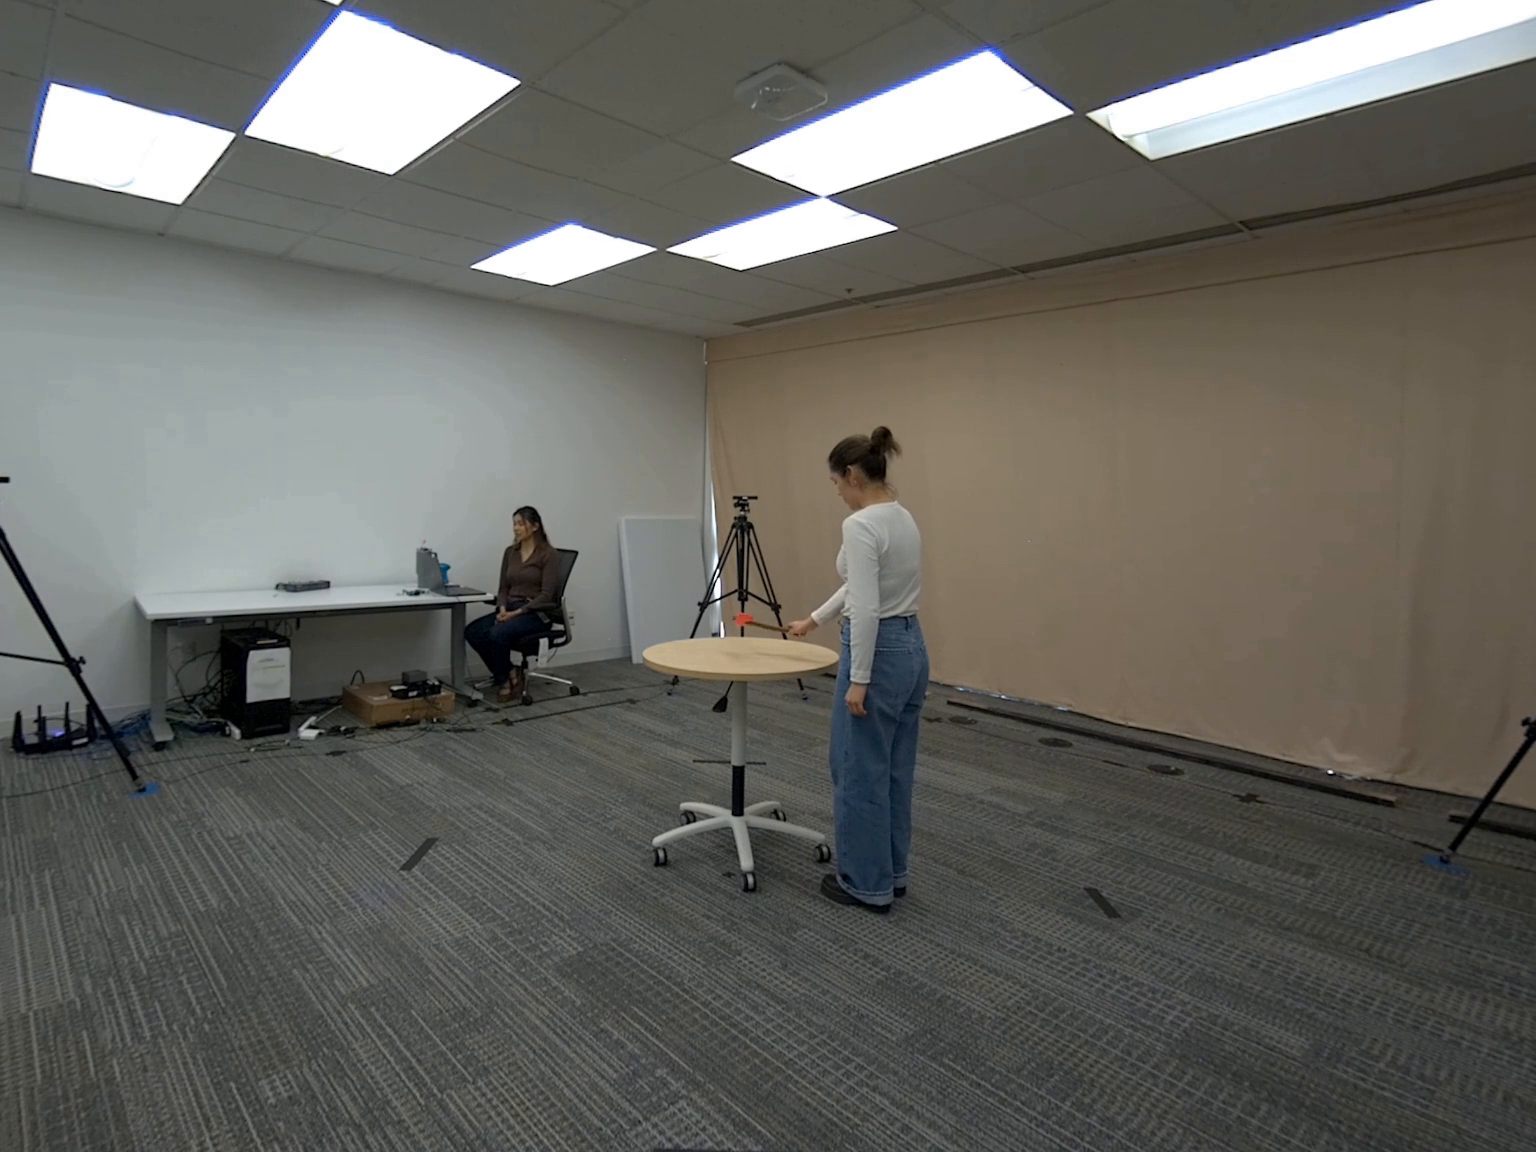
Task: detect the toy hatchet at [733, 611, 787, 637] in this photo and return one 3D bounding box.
[{"bbox_3d":[-0.004,0.185,3.244,0.274,0.030,0.127,4,-29,18],"label":"toy hatchet"}]
